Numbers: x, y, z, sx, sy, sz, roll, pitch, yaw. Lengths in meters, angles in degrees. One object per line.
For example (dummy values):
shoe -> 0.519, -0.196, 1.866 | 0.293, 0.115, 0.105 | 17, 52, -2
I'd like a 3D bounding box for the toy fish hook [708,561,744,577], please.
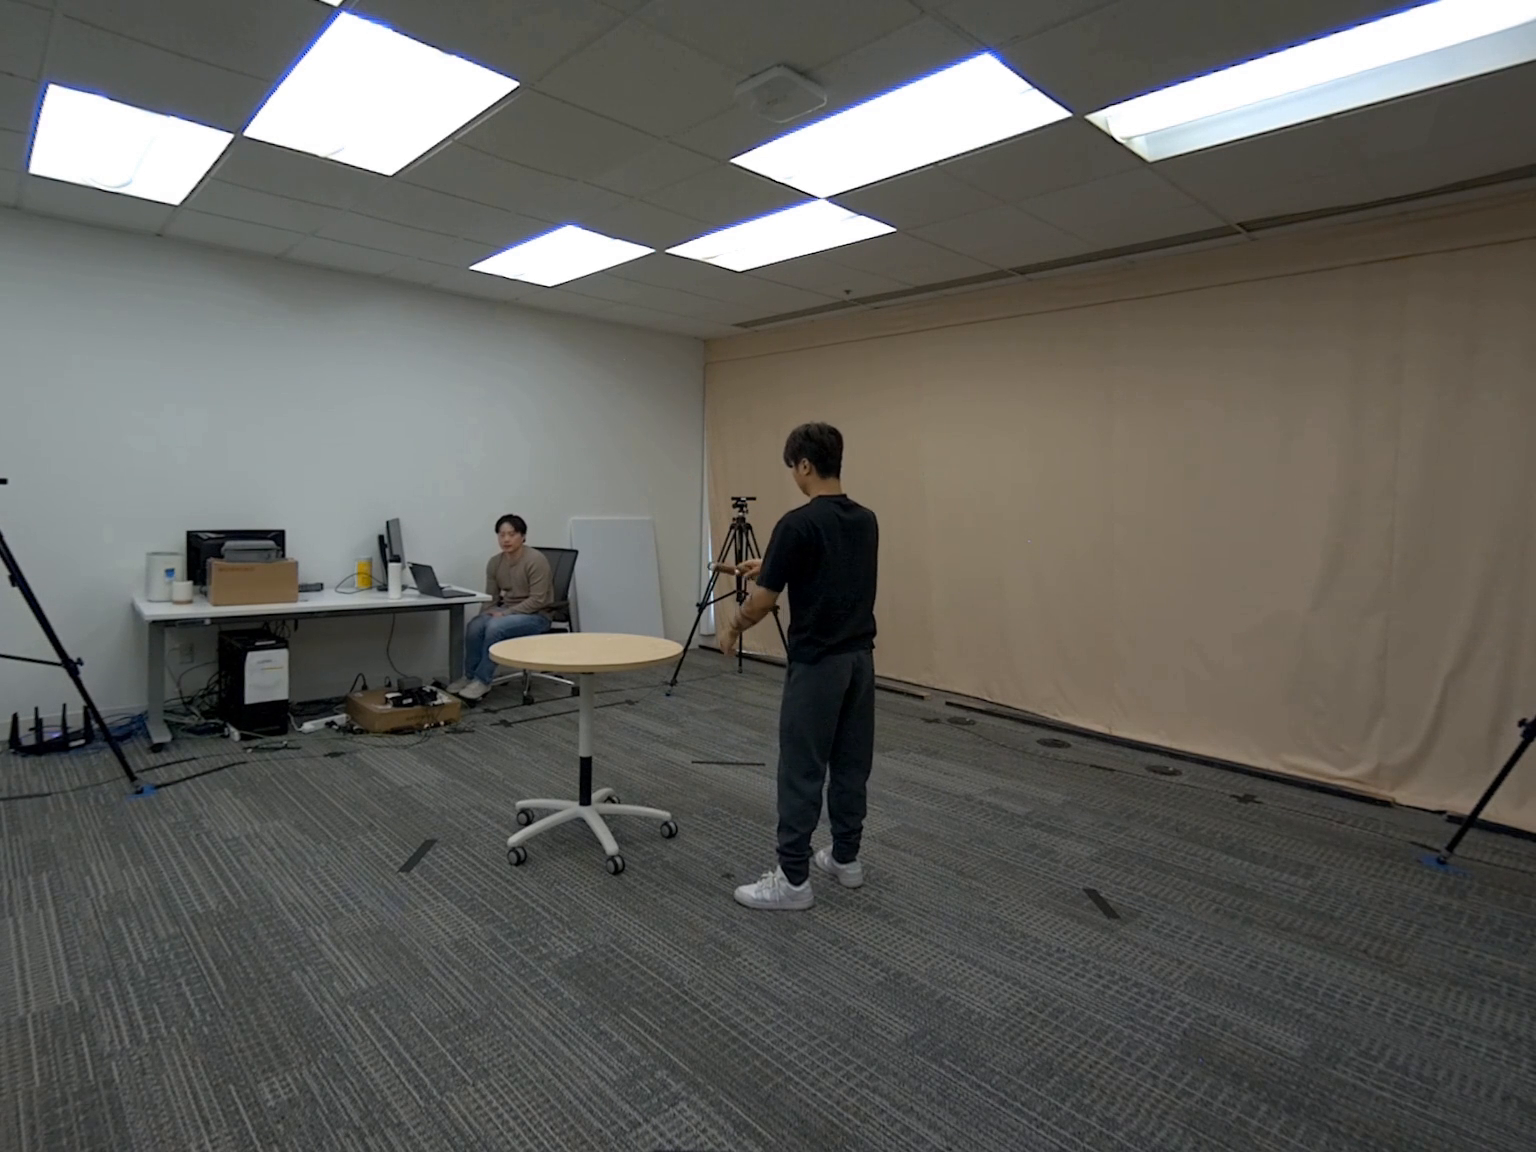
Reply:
toy fish hook -> -0.062, -0.003, 3.412 | 0.494, 0.048, 0.231 | 10, 7, -31
